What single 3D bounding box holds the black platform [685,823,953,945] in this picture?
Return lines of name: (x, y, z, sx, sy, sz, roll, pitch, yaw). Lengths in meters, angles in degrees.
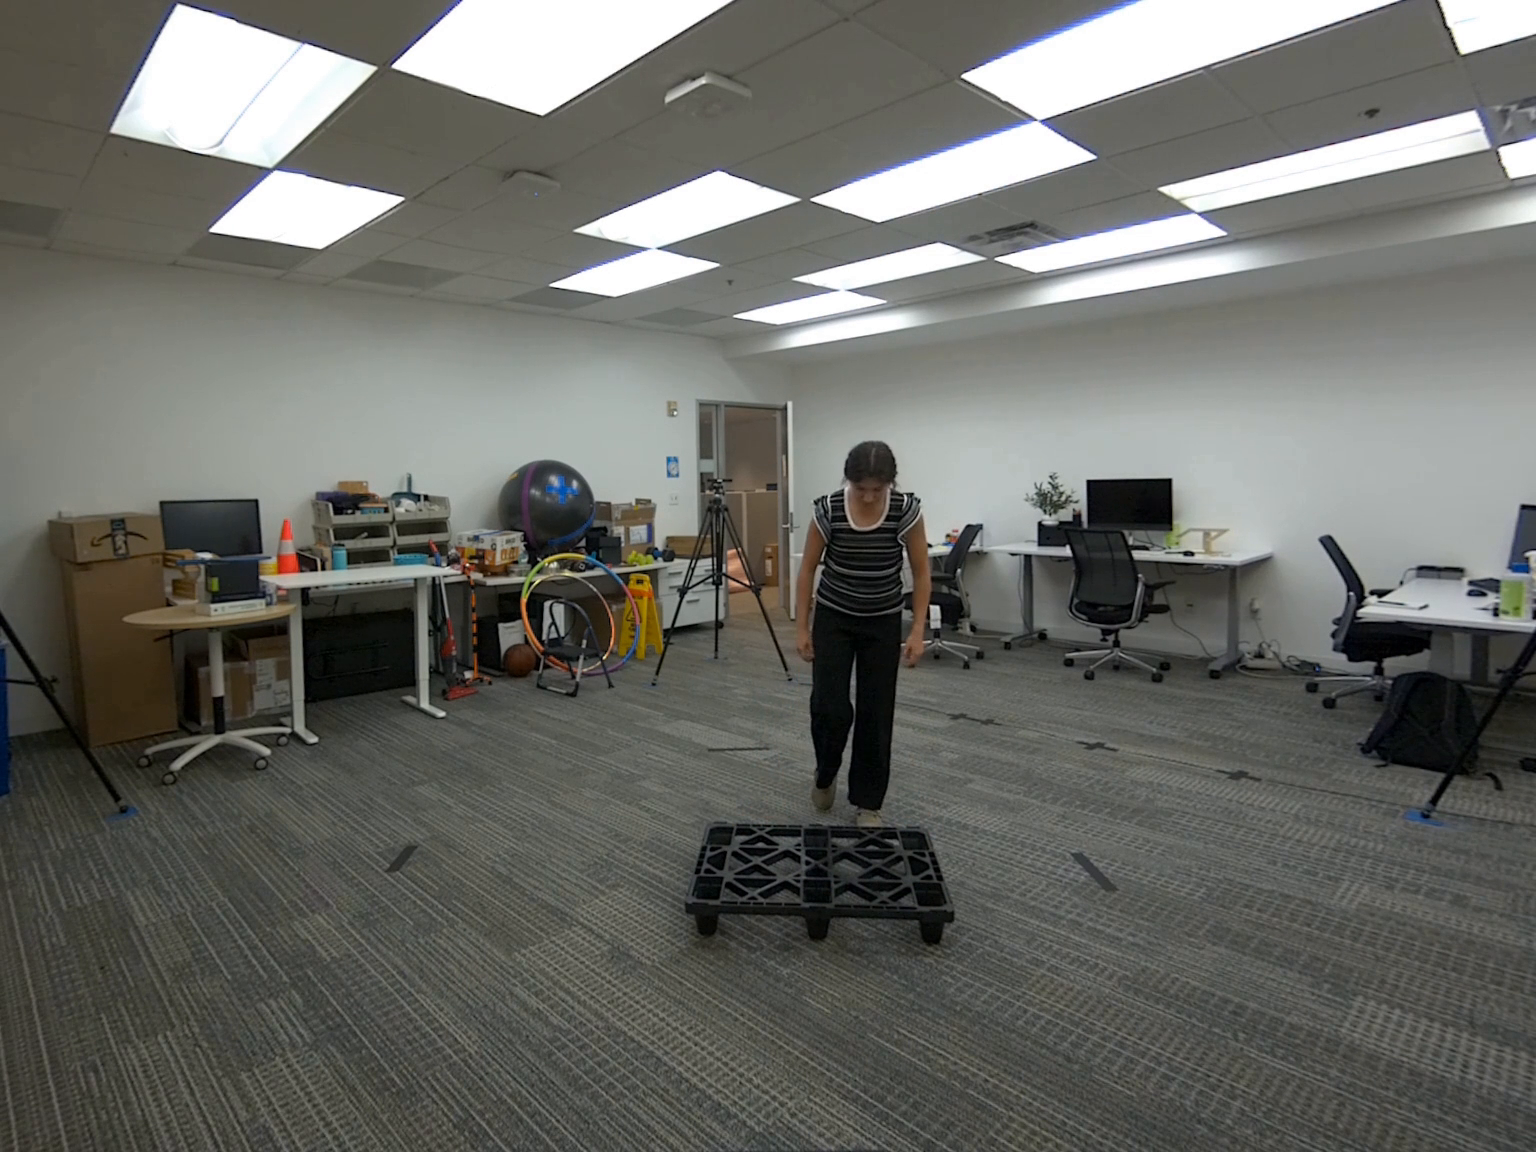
black platform: (0.159, 1.007, 2.819, 0.810, 0.143, 0.604, 0, 6, 5)
